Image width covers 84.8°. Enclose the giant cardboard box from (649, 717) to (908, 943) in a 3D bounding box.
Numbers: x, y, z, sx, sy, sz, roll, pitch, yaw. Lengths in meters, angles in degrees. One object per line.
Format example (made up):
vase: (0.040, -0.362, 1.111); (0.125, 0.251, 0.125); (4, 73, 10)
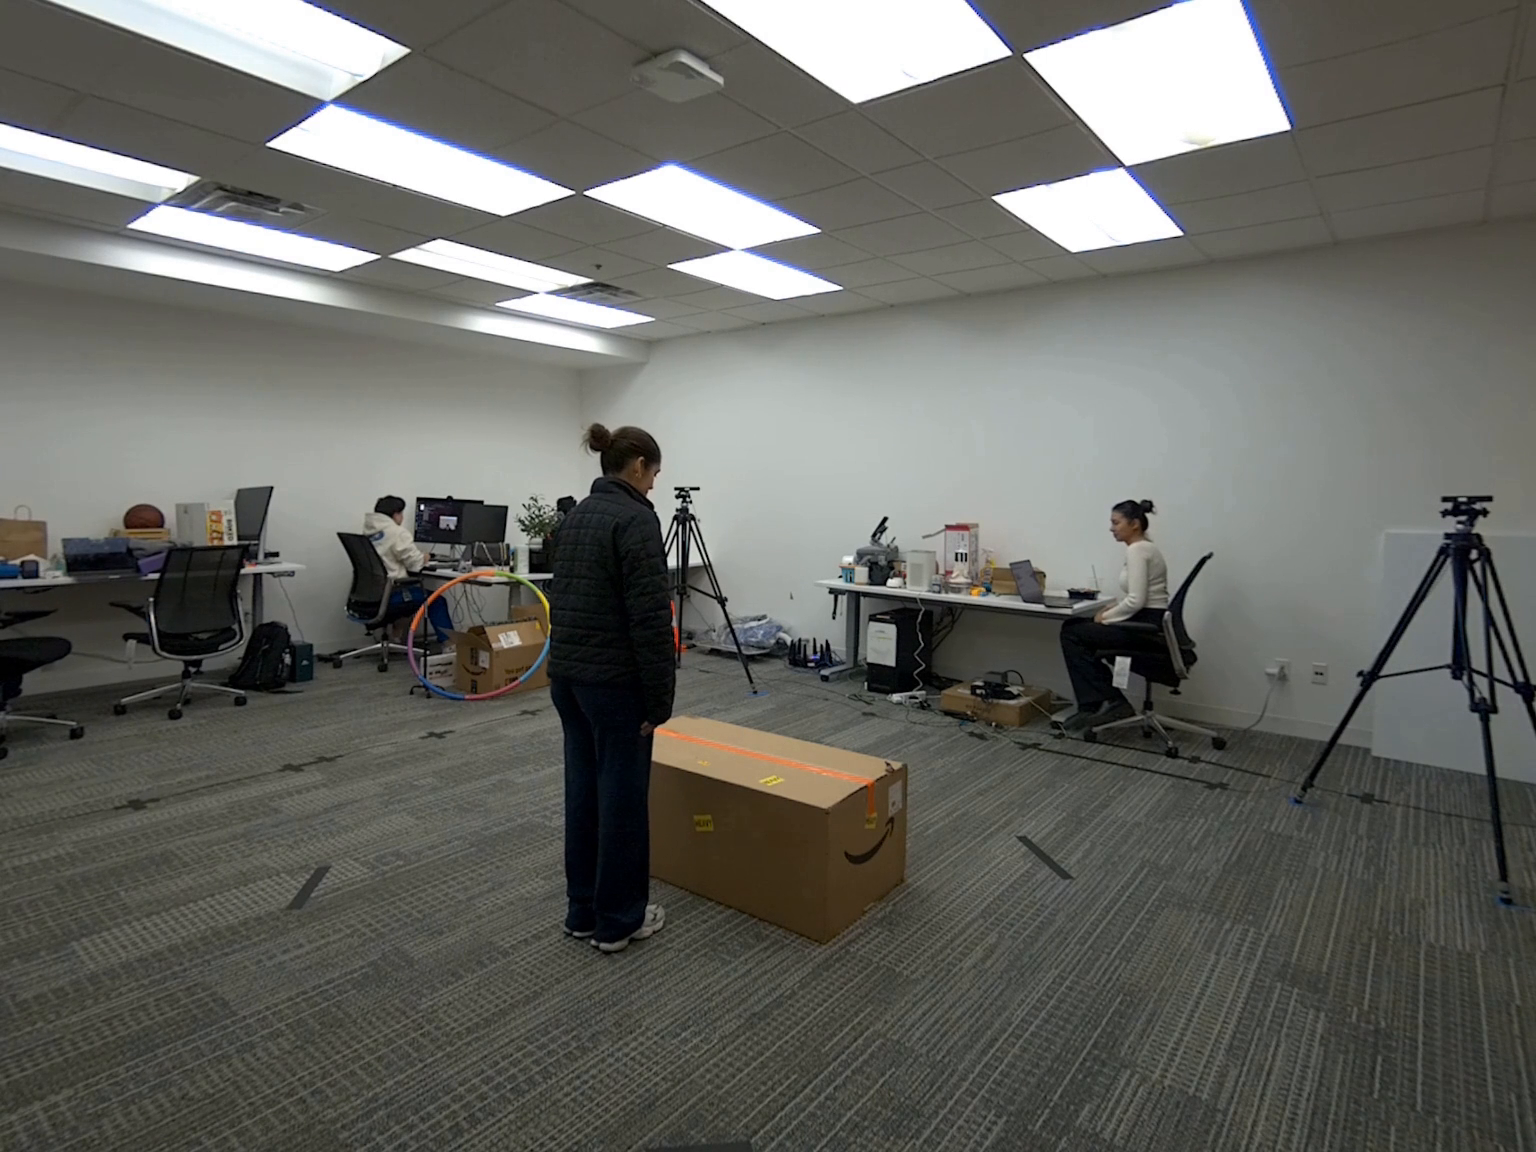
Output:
giant cardboard box: (-0.067, 0.851, 3.132); (1.059, 0.424, 0.561); (5, 6, 37)
